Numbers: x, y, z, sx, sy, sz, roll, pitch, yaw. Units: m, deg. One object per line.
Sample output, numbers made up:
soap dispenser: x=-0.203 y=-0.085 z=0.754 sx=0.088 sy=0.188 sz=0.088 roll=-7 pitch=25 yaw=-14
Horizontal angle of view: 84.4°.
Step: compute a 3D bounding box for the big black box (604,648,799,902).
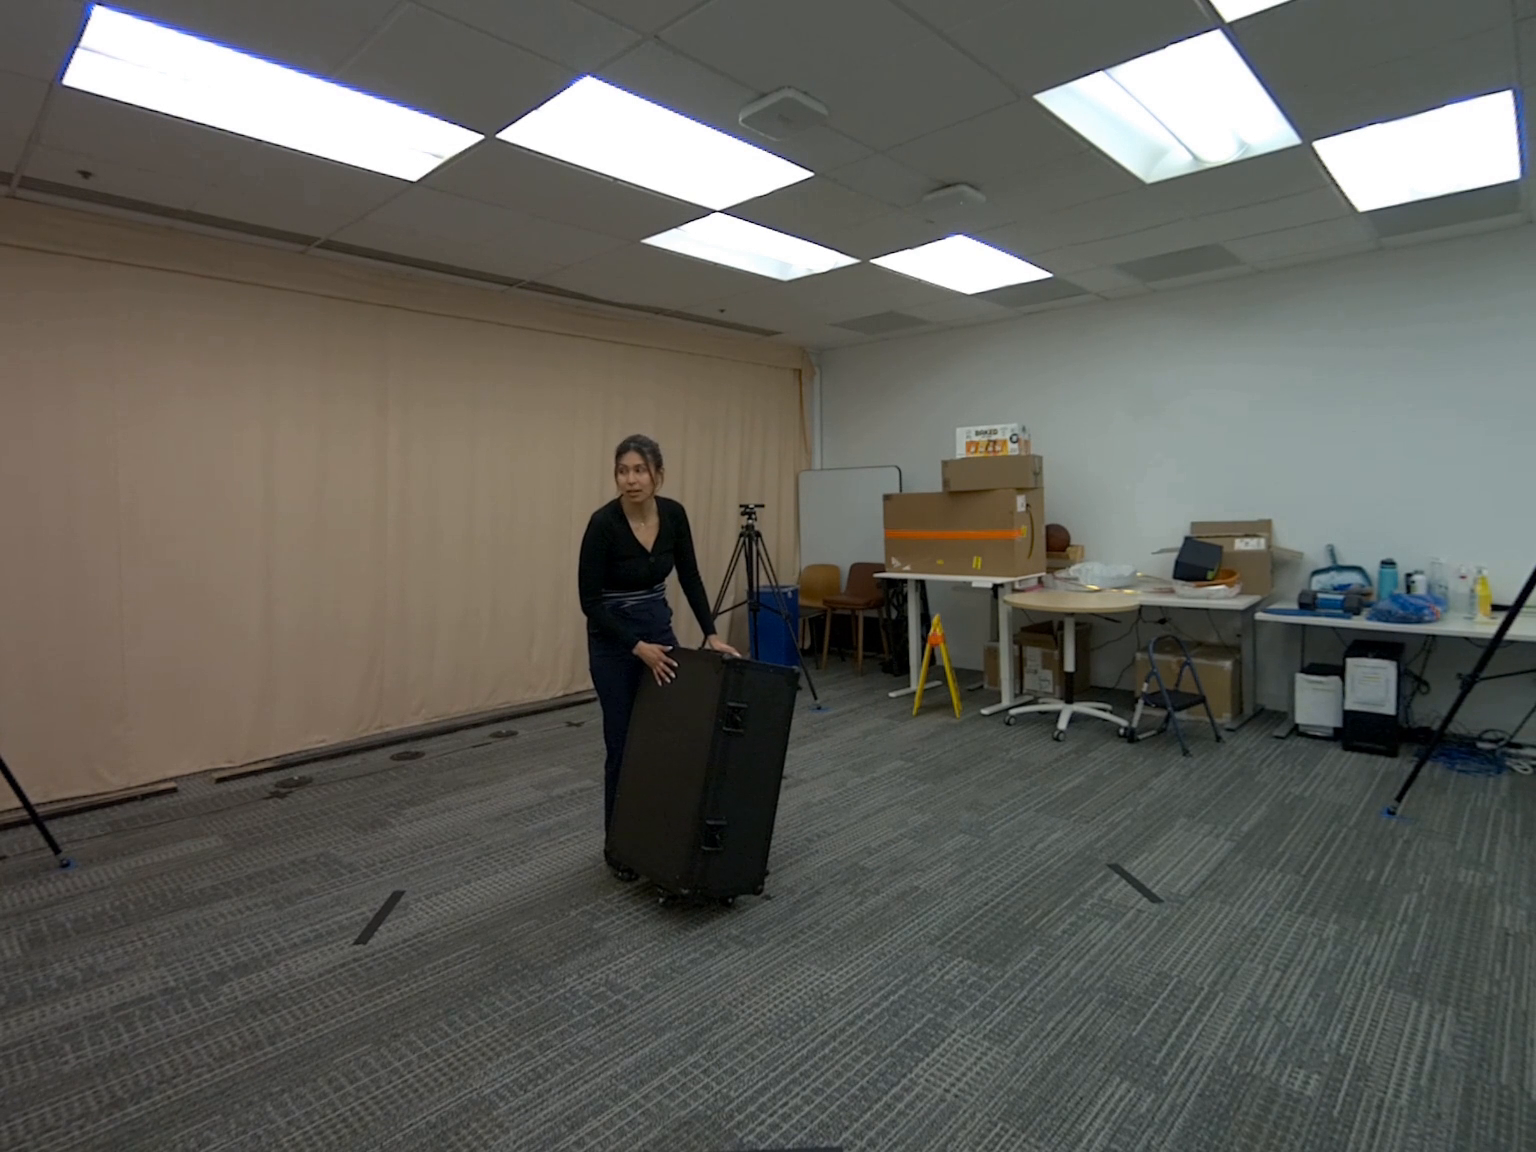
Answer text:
big black box: x=-0.212 y=0.647 z=3.013 sx=0.382 sy=0.864 sz=0.538 roll=14 pitch=-7 yaw=-41
